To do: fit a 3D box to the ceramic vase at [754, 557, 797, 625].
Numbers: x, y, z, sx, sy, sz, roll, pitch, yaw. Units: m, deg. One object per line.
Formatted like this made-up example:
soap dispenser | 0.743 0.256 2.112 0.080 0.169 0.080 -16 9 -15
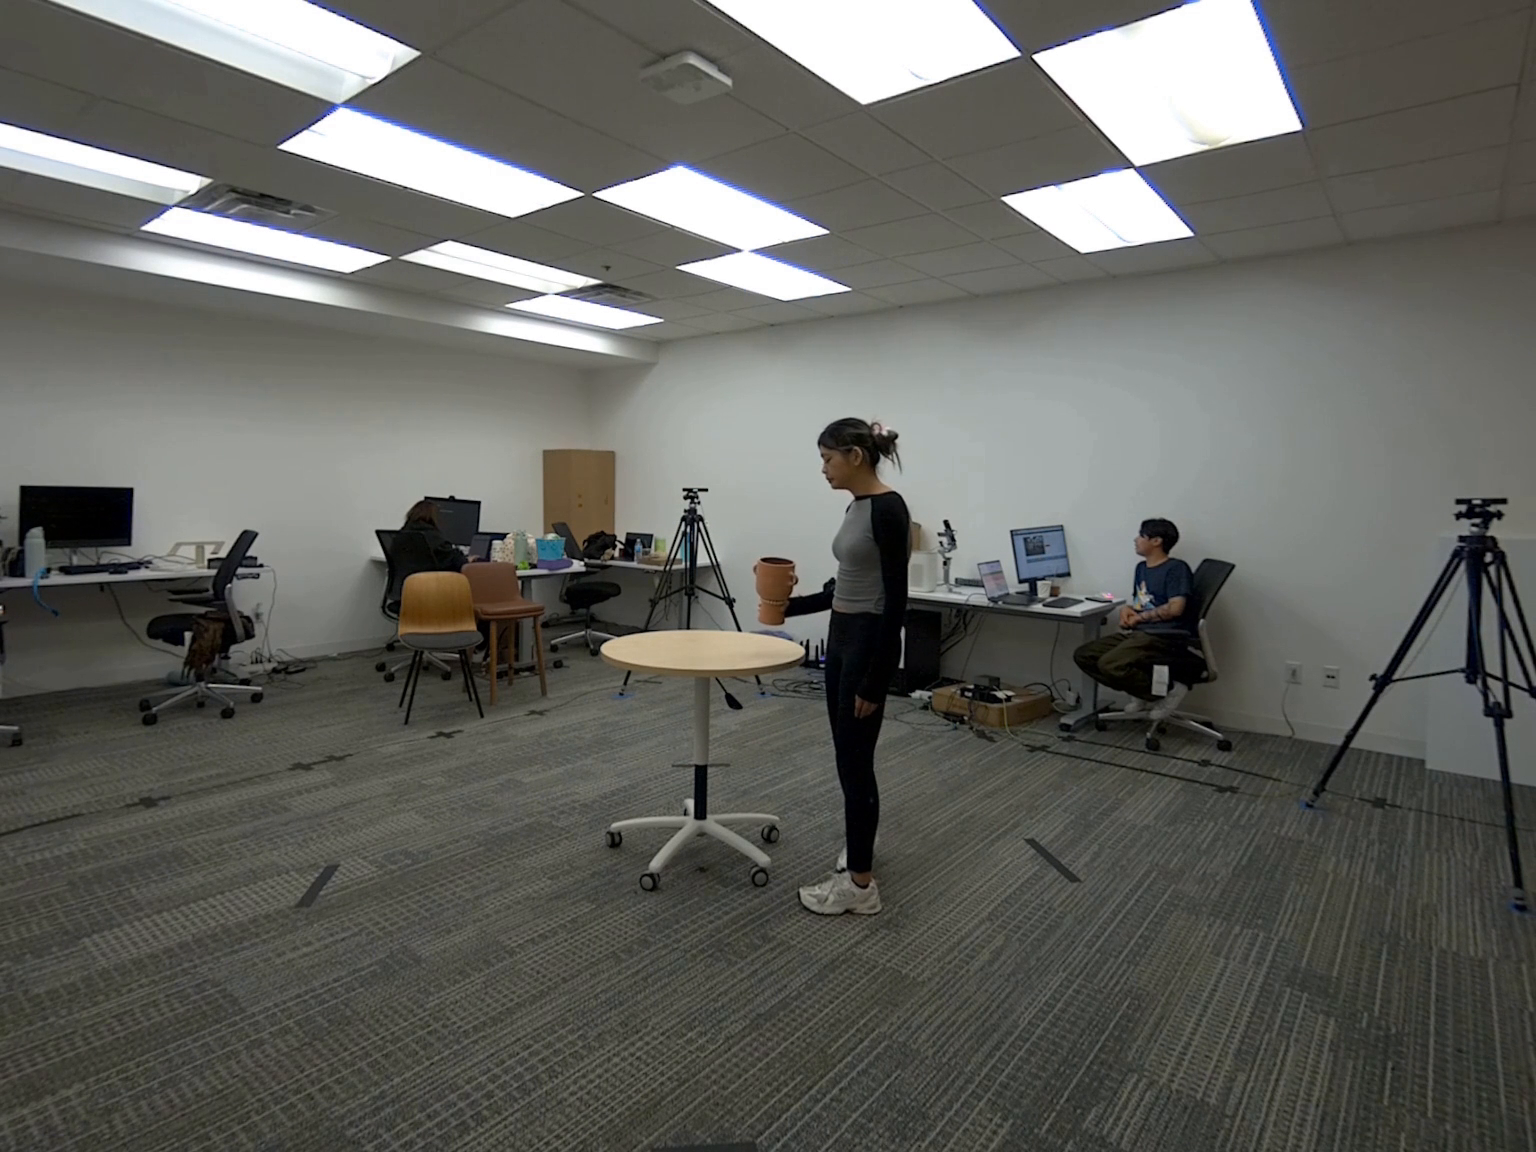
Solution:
ceramic vase | 0.018 0.052 2.998 0.133 0.218 0.162 3 12 -11
